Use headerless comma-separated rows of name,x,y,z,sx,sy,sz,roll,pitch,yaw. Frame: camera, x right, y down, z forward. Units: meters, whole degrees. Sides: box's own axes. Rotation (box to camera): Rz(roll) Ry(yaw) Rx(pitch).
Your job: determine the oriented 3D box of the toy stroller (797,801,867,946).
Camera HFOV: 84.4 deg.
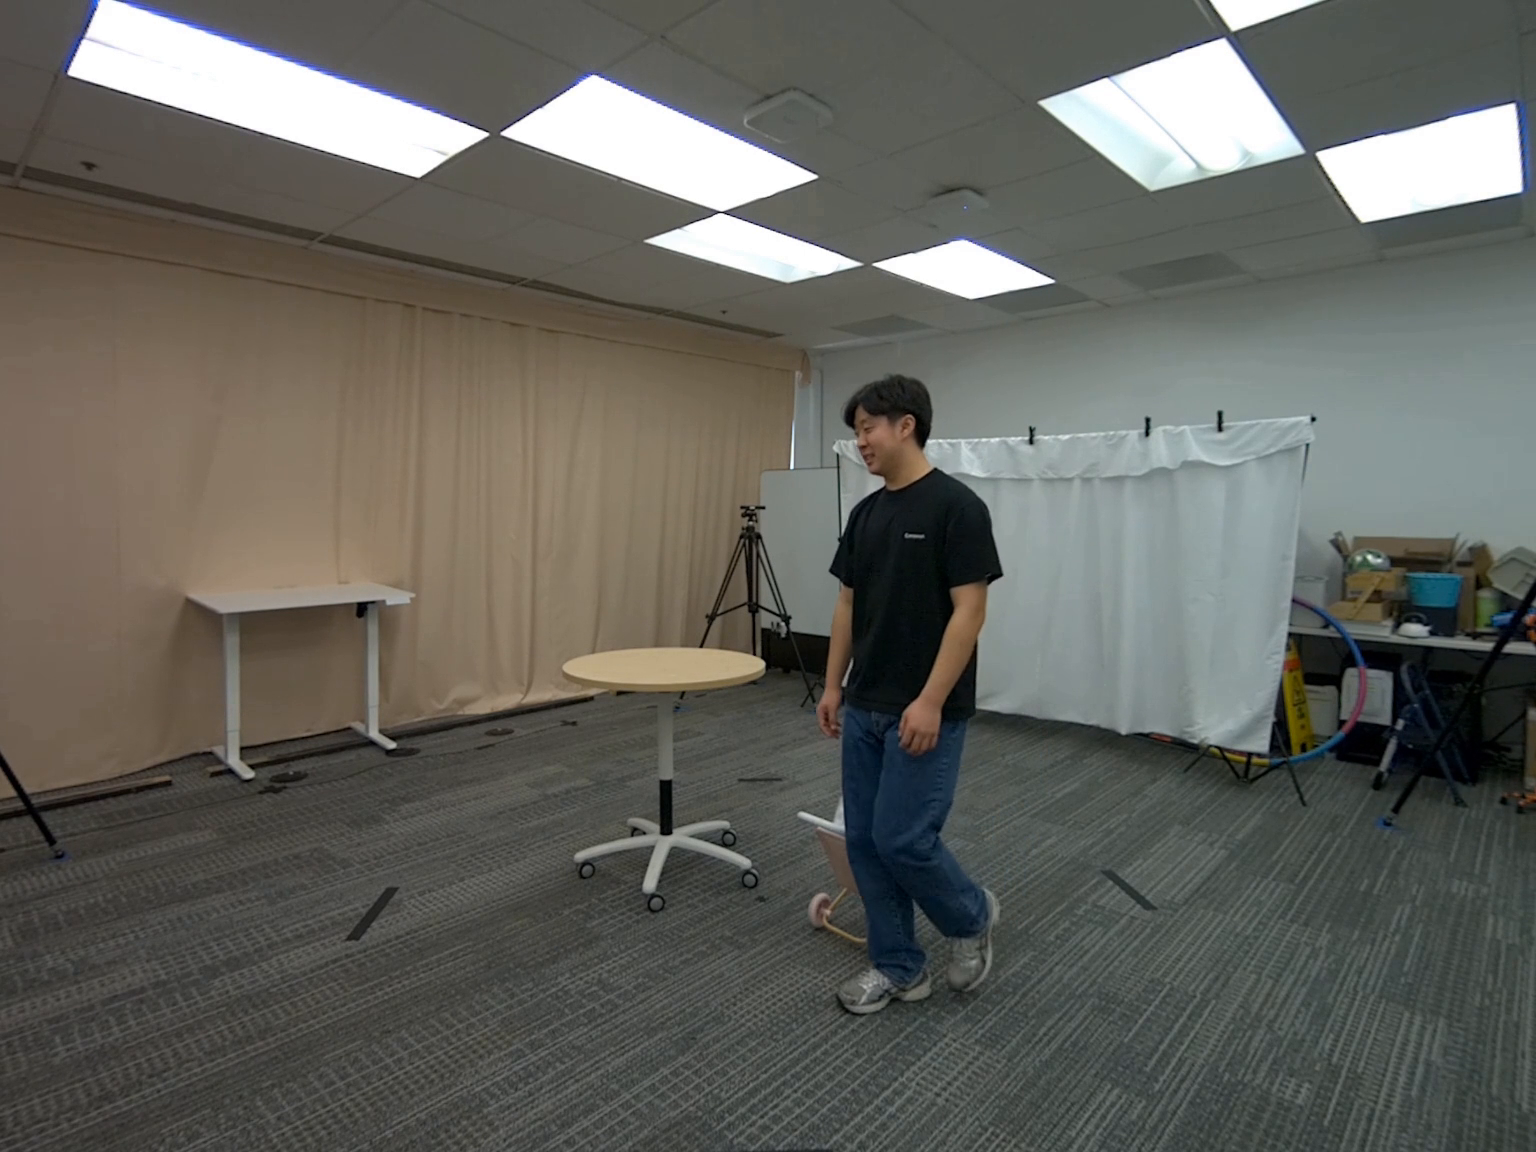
toy stroller,0.315,0.939,2.724,0.334,0.529,0.291,-22,17,-38
